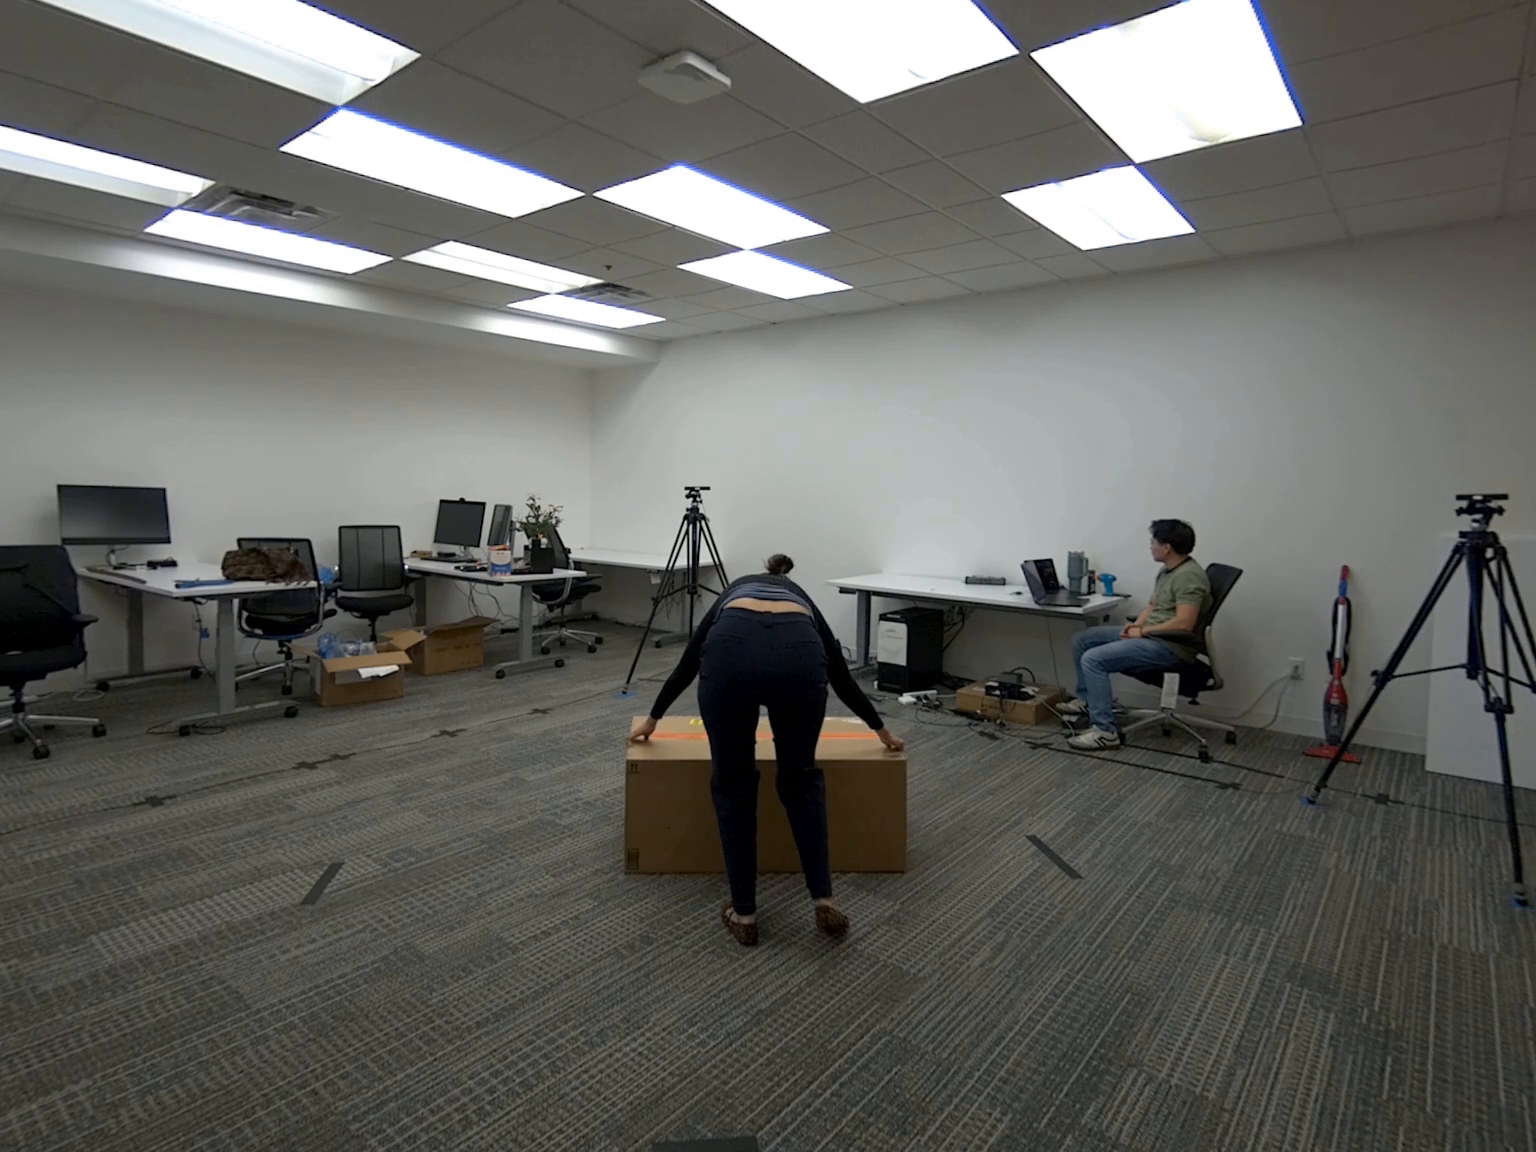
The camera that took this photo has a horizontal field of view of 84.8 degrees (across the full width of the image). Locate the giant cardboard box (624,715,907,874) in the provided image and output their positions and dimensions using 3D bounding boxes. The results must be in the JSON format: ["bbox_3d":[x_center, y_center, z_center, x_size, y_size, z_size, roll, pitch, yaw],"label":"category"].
[{"bbox_3d":[-0.043,0.828,3.343,1.022,0.425,0.582,0,4,-4],"label":"giant cardboard box"}]
